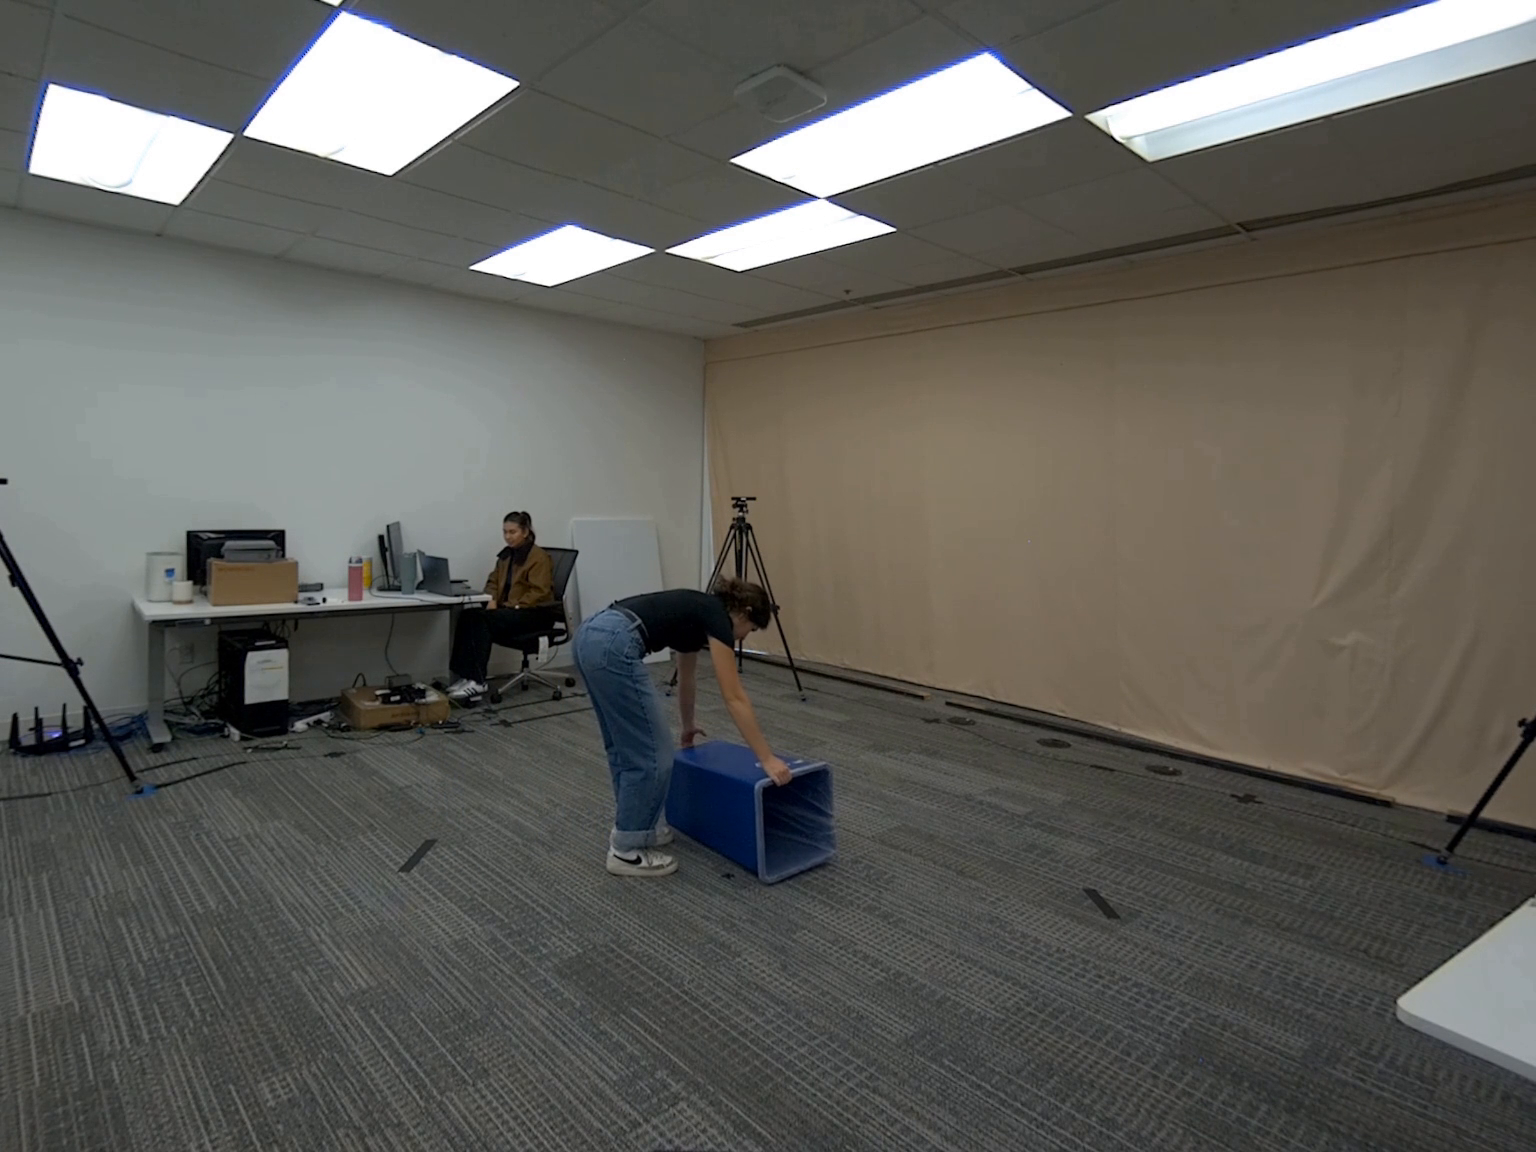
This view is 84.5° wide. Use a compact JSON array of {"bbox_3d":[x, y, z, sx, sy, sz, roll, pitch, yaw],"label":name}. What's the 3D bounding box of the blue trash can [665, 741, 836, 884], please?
[{"bbox_3d":[-0.114,0.910,3.398,0.370,0.373,0.730,-6,4,-38],"label":"blue trash can"}]
